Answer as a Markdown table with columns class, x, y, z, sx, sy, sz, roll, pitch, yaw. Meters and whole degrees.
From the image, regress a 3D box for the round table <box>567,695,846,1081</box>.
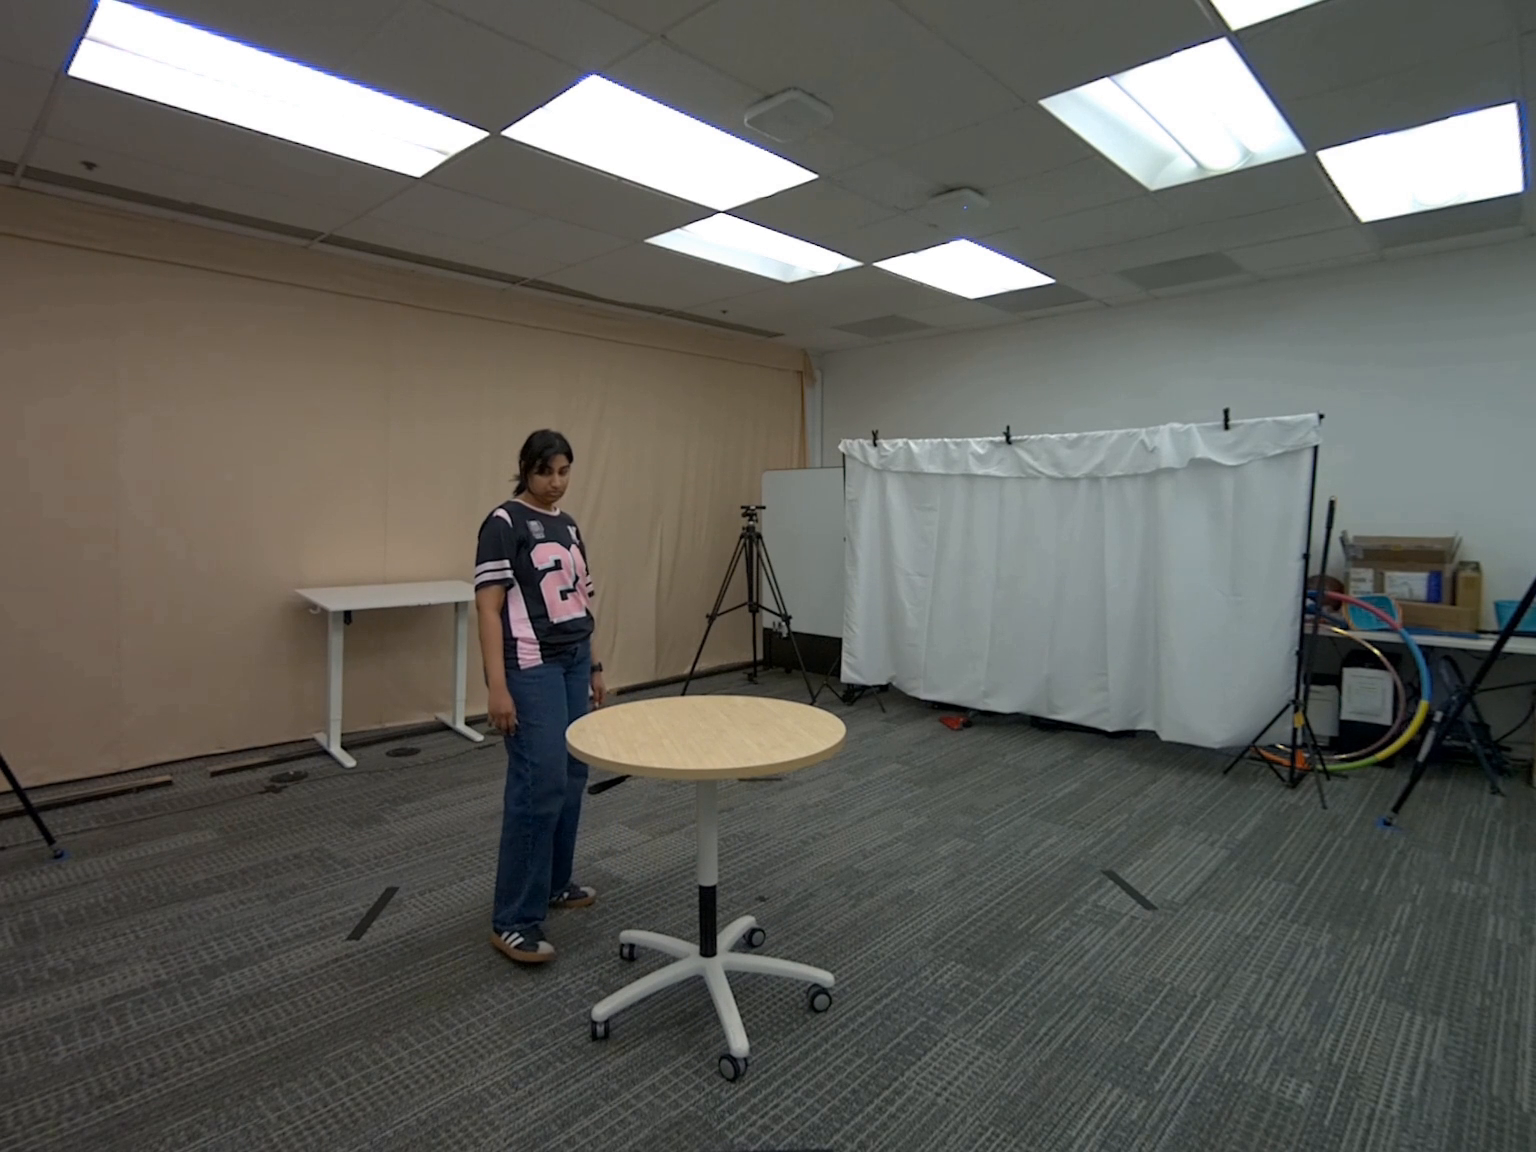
| class | x | y | z | sx | sy | sz | roll | pitch | yaw |
| --- | --- | --- | --- | --- | --- | --- | --- | --- | --- |
| round table | -0.162 | 0.811 | 2.342 | 0.763 | 0.792 | 0.766 | -1 | 4 | -2 |
